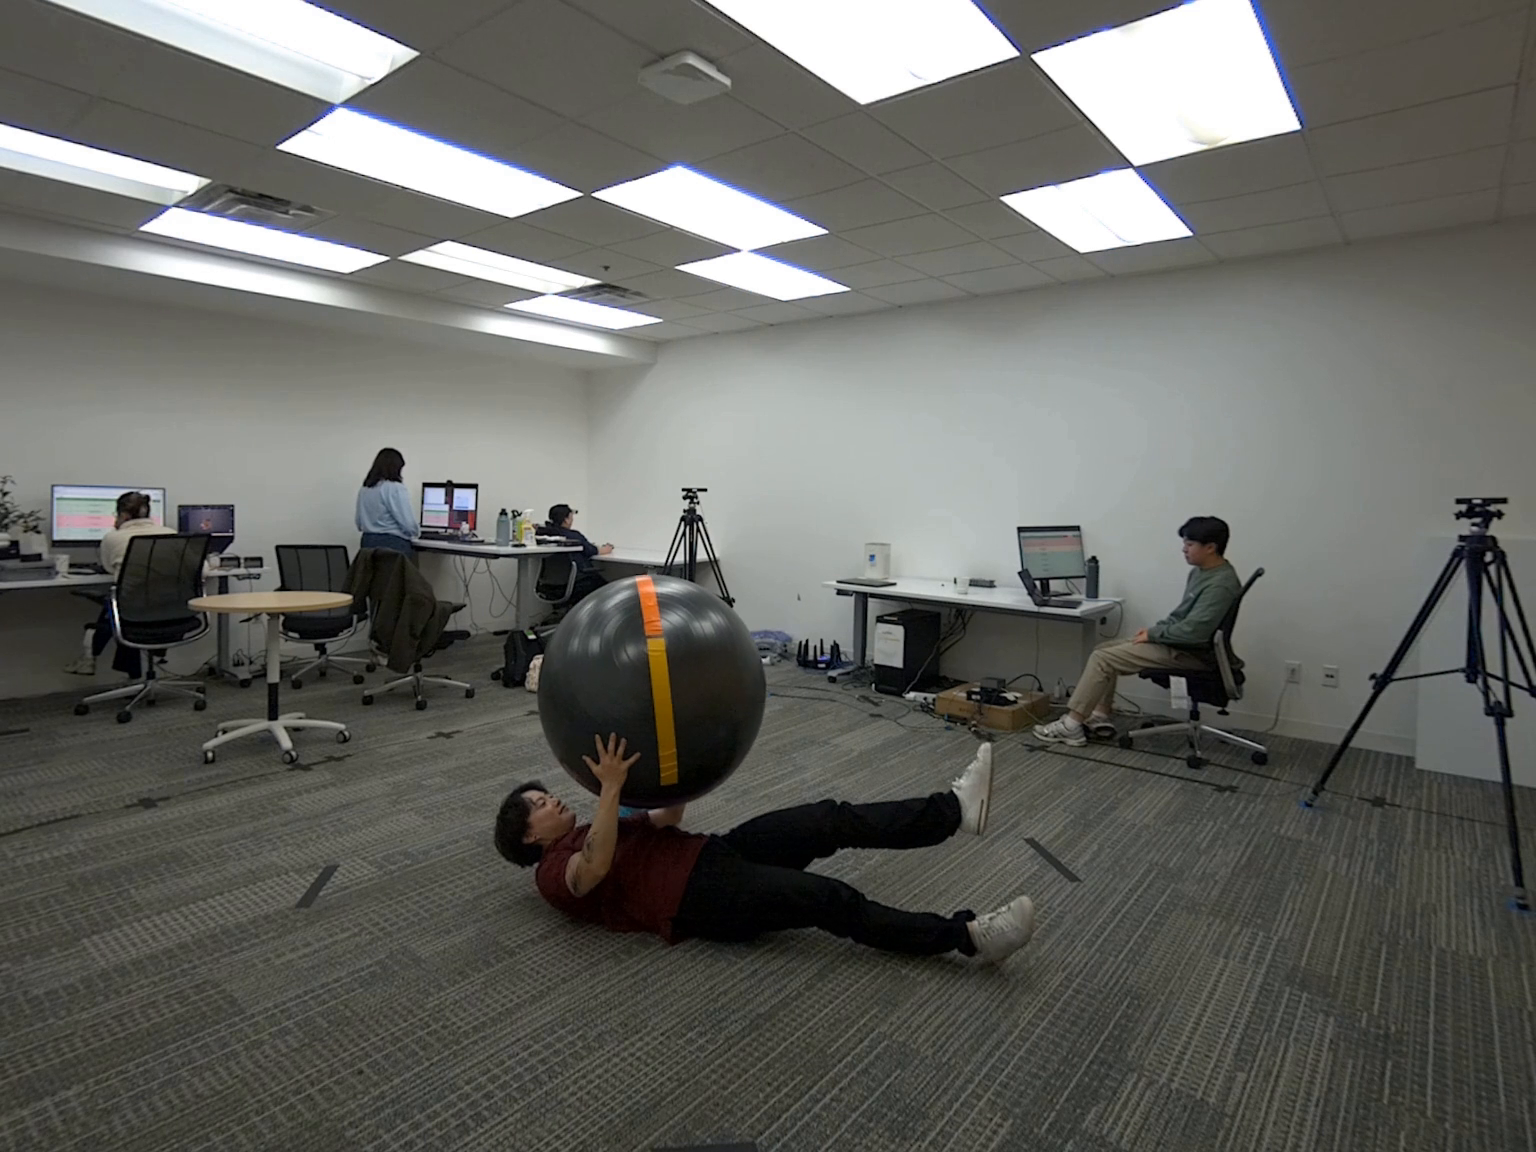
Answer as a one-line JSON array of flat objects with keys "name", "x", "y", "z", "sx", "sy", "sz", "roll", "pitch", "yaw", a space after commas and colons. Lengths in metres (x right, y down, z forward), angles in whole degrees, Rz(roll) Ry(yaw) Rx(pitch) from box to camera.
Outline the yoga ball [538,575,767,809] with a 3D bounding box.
[{"name": "yoga ball", "x": -0.389, "y": 0.375, "z": 2.838, "sx": 0.757, "sy": 0.755, "sz": 0.762, "roll": 1, "pitch": 4, "yaw": -2}]
